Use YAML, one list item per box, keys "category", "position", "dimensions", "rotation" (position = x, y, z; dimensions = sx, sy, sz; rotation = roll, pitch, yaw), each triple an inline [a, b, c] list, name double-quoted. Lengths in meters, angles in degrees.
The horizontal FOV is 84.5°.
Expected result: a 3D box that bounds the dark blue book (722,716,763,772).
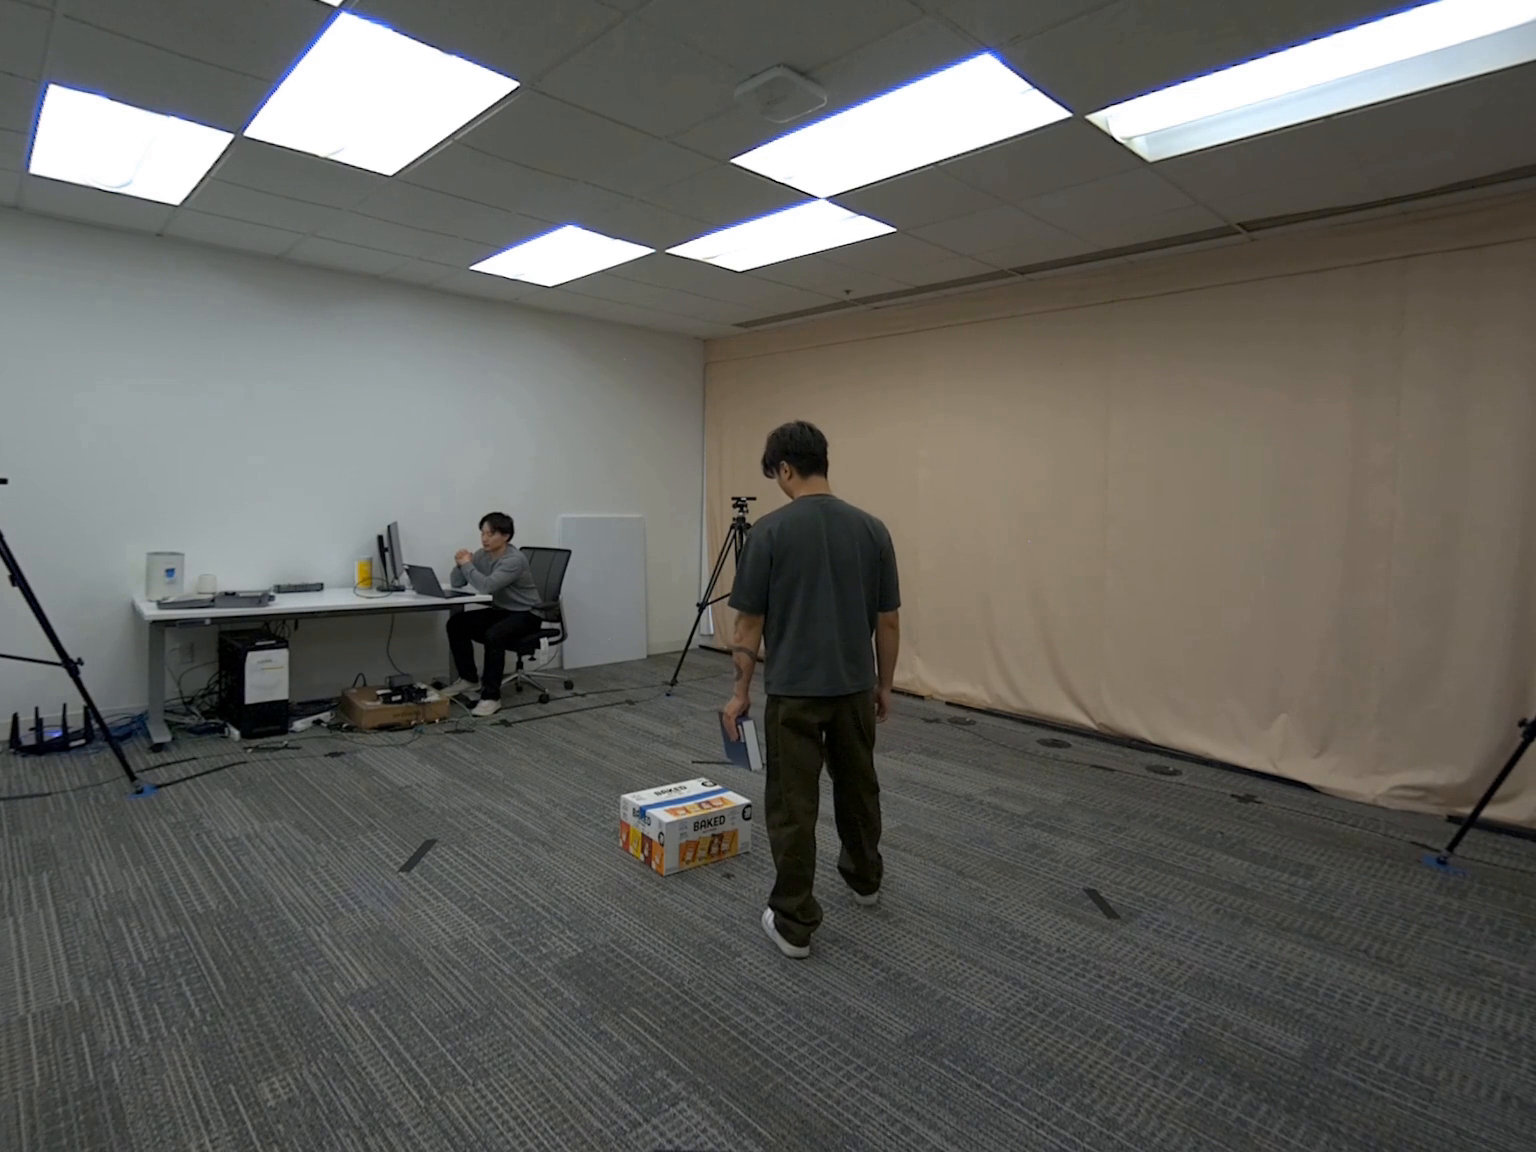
- category: "dark blue book"
  position: [-0.091, 0.521, 2.730]
  dimensions: [0.044, 0.163, 0.248]
  rotation: [-9, 1, -21]
